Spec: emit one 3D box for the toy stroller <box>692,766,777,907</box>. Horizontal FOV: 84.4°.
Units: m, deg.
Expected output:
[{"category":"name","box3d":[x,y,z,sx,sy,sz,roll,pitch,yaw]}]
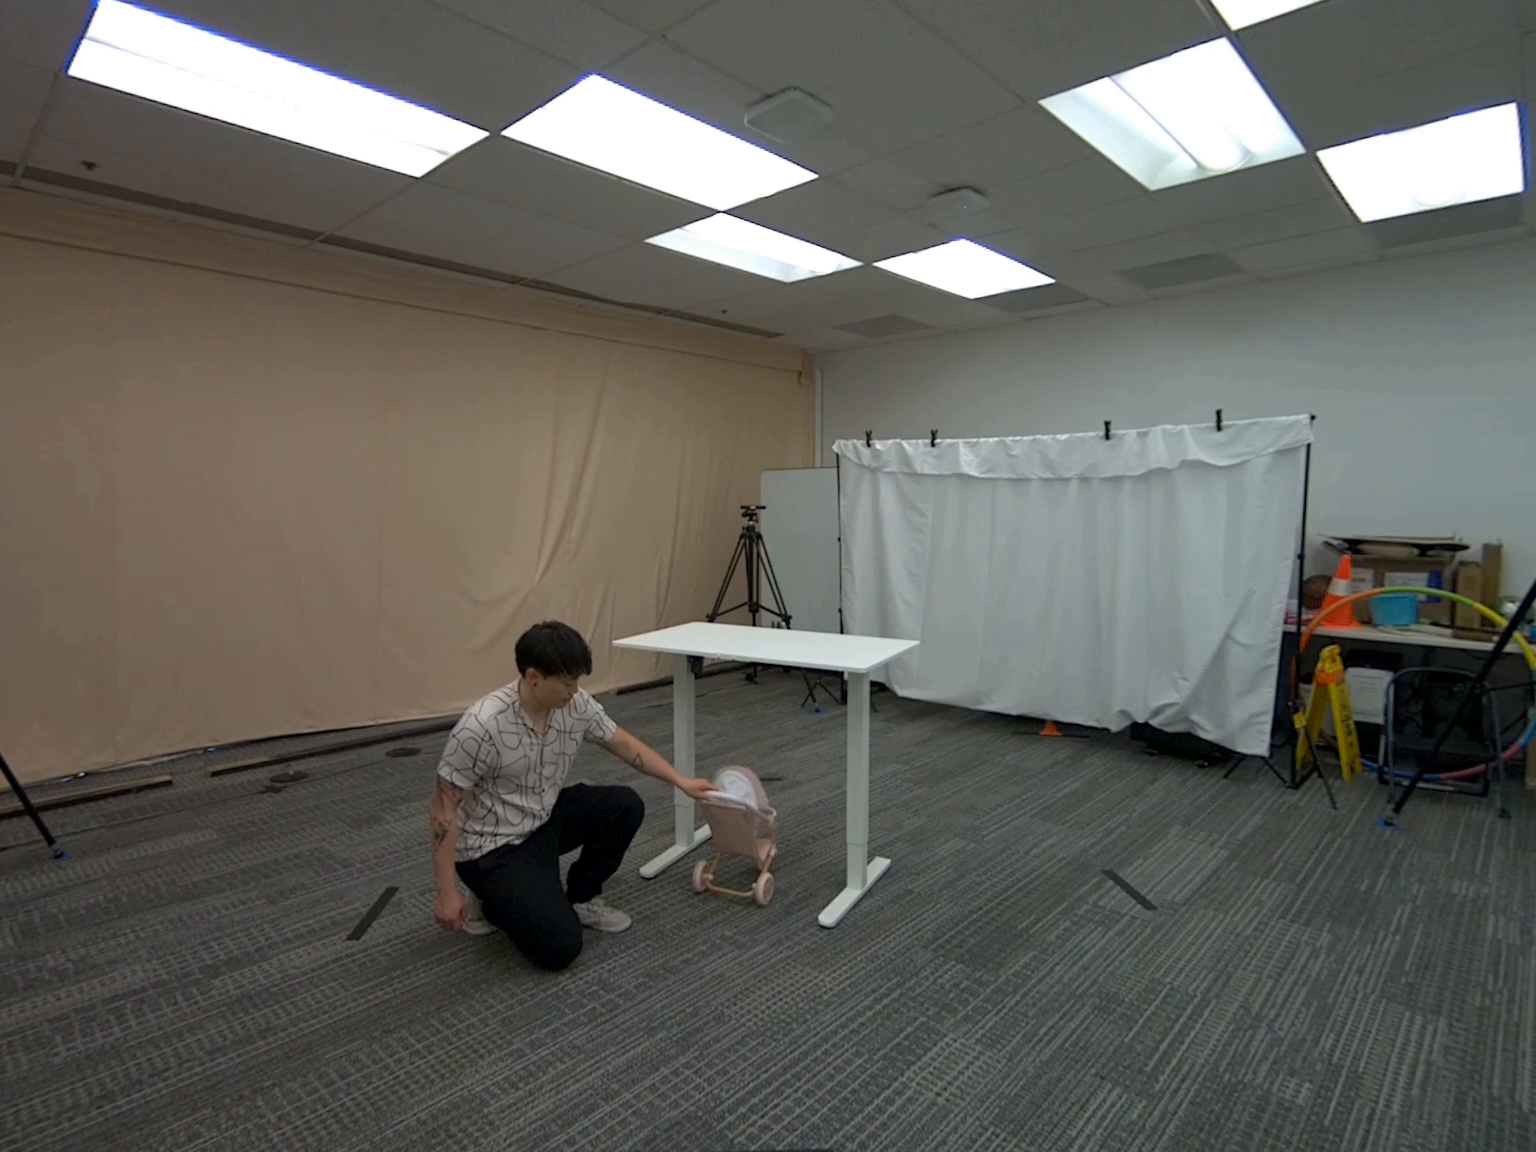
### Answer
[{"category":"toy stroller","box3d":[-0.099,0.914,3.031,0.289,0.528,0.336,2,19,29]}]
